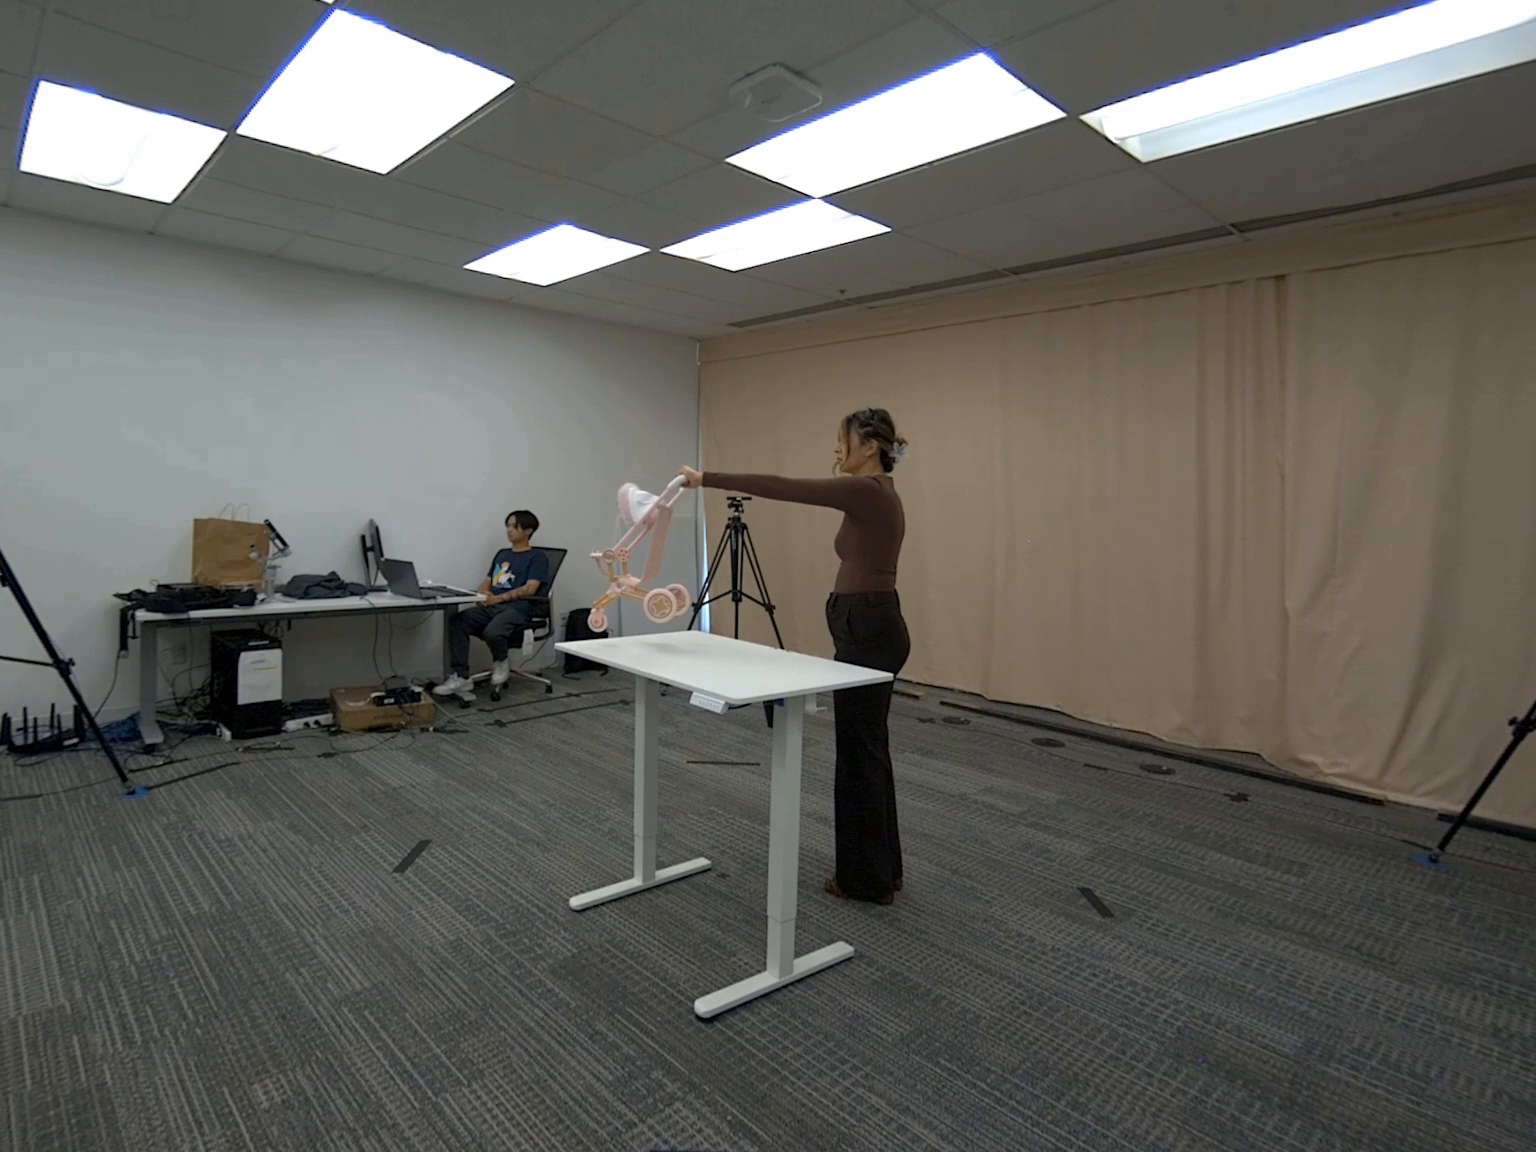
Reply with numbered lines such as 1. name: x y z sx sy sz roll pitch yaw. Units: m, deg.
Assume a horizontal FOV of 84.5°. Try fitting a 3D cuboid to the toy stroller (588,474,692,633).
1. toy stroller: -0.449 -0.068 2.828 0.345 0.534 0.279 2 2 12
